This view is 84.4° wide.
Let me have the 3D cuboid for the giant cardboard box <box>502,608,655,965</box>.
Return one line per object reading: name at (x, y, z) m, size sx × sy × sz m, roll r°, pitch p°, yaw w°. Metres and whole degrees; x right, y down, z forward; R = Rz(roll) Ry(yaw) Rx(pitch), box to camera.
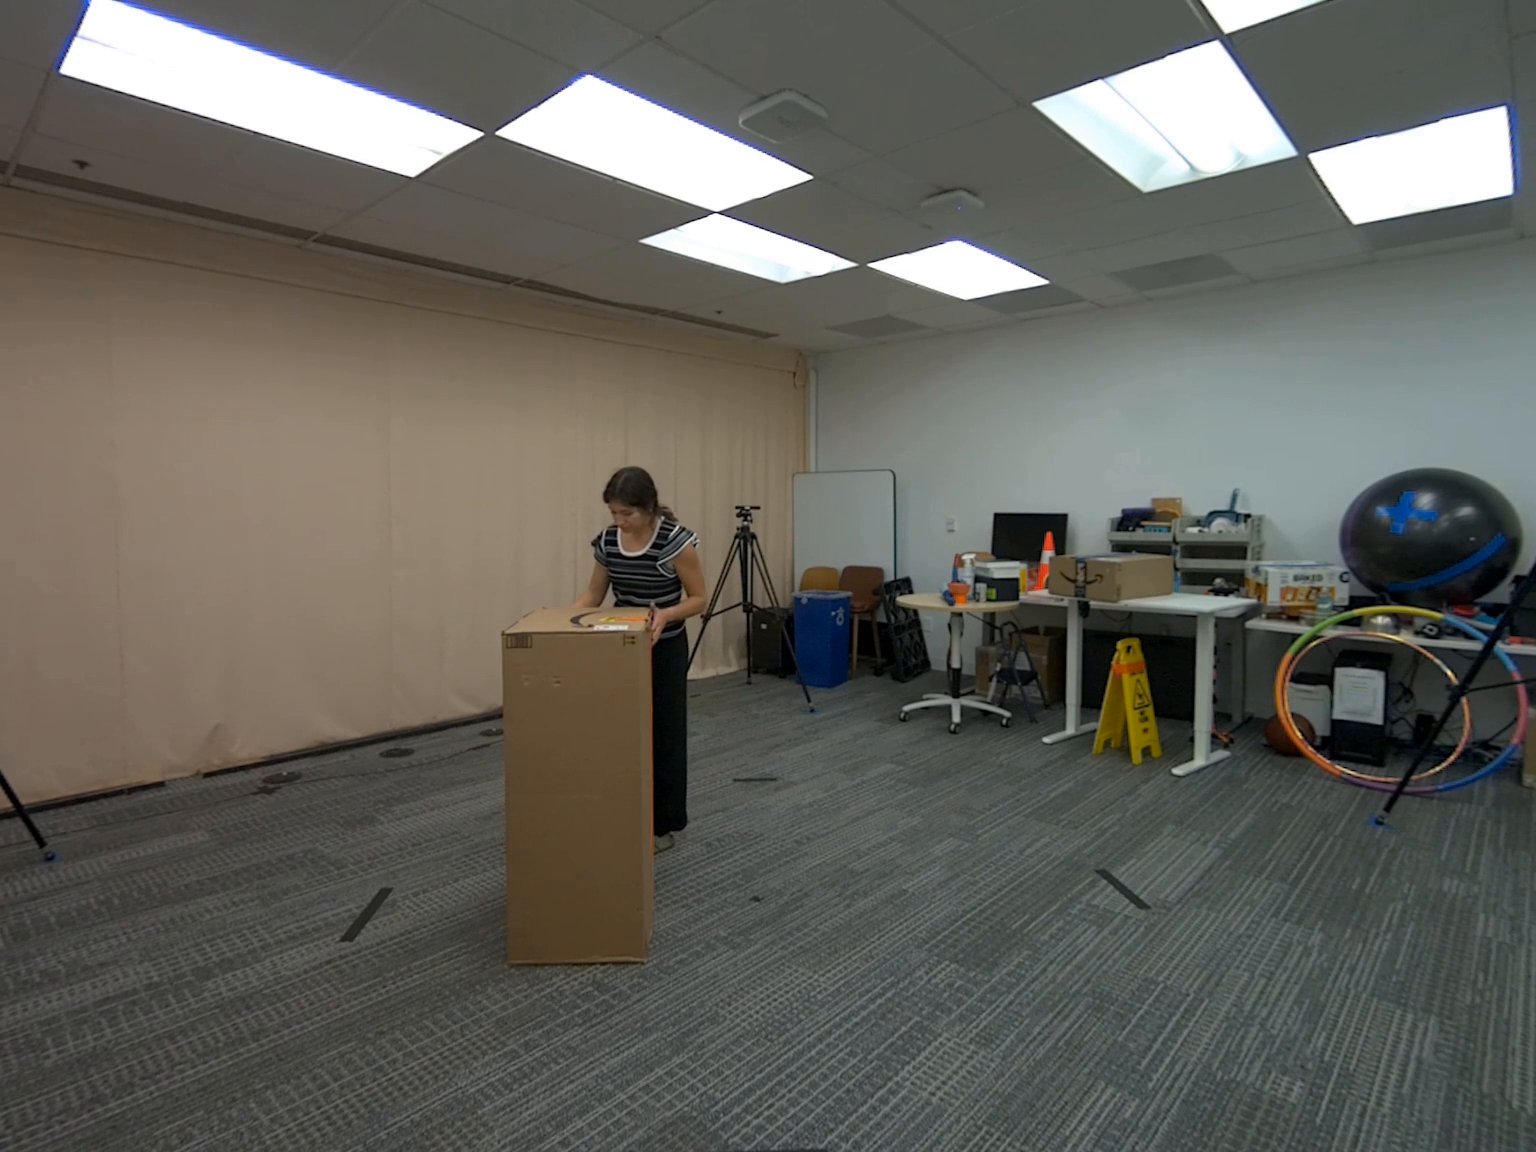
giant cardboard box at (-0.614, 0.653, 2.824) m, size 0.426 × 1.024 × 0.579 m, roll 0°, pitch 3°, yaw -2°
